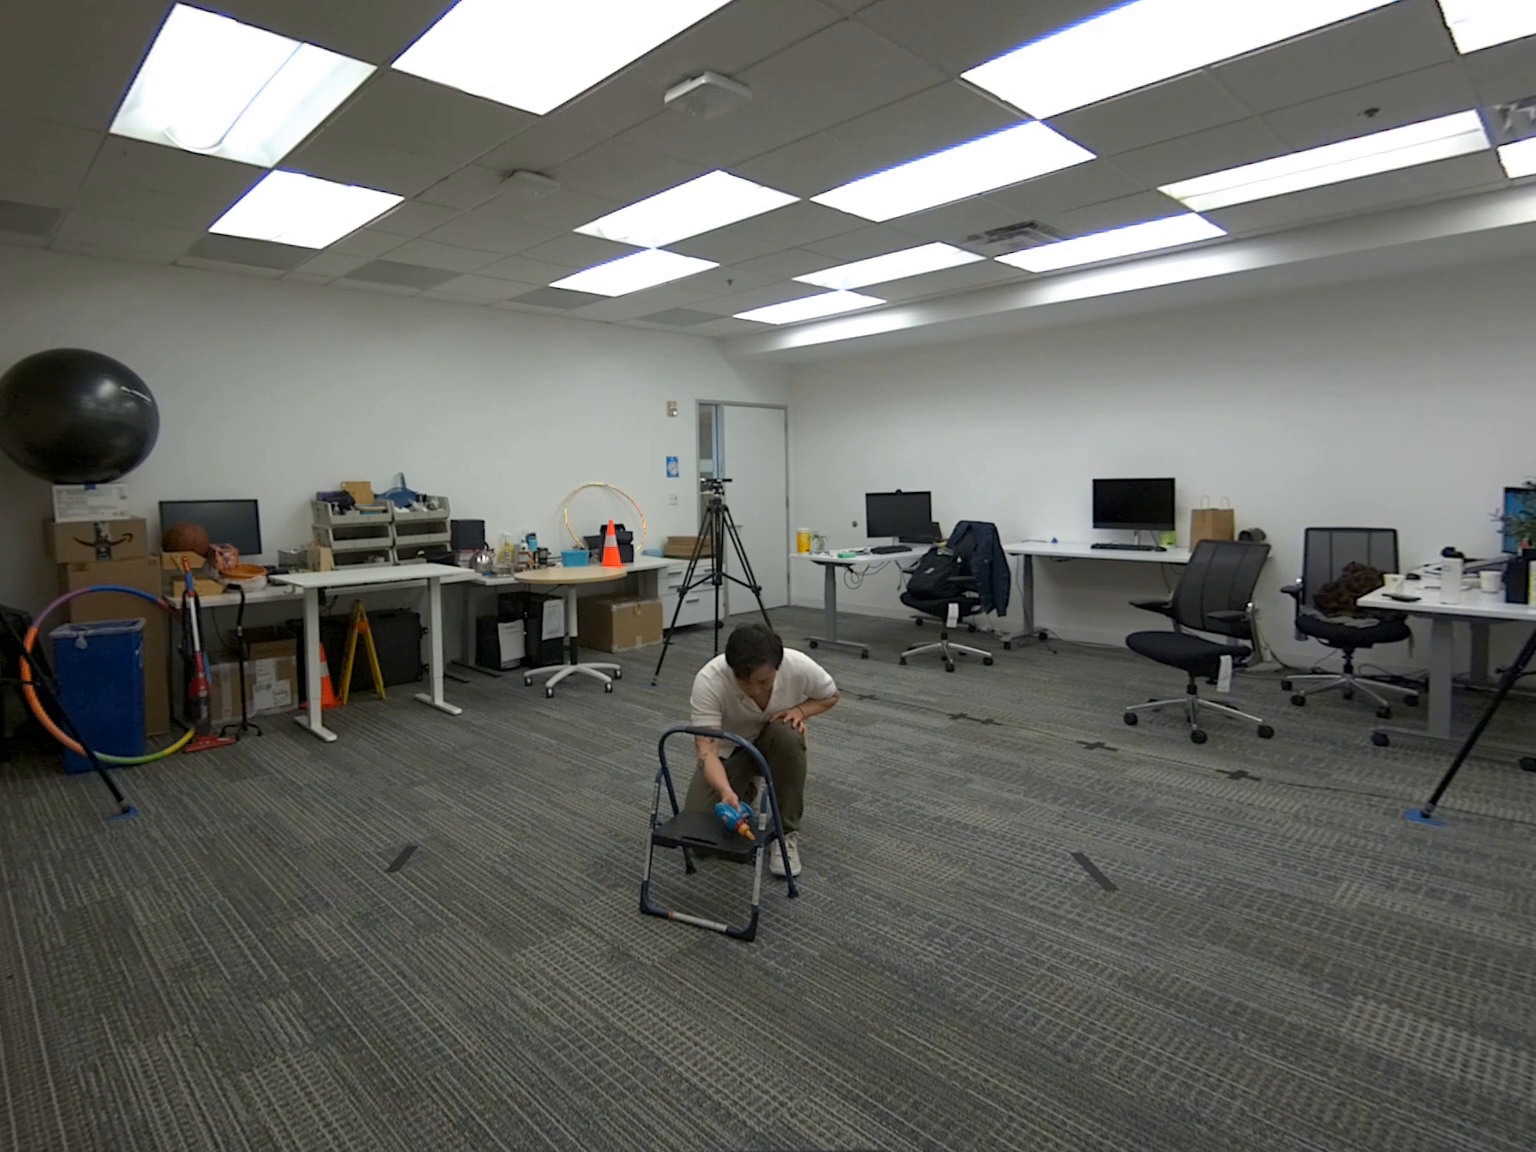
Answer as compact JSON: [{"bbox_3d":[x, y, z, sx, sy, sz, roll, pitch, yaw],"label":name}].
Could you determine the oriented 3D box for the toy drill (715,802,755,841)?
[{"bbox_3d":[-0.069,0.787,2.720,0.176,0.061,0.141,37,17,34],"label":"toy drill"}]
